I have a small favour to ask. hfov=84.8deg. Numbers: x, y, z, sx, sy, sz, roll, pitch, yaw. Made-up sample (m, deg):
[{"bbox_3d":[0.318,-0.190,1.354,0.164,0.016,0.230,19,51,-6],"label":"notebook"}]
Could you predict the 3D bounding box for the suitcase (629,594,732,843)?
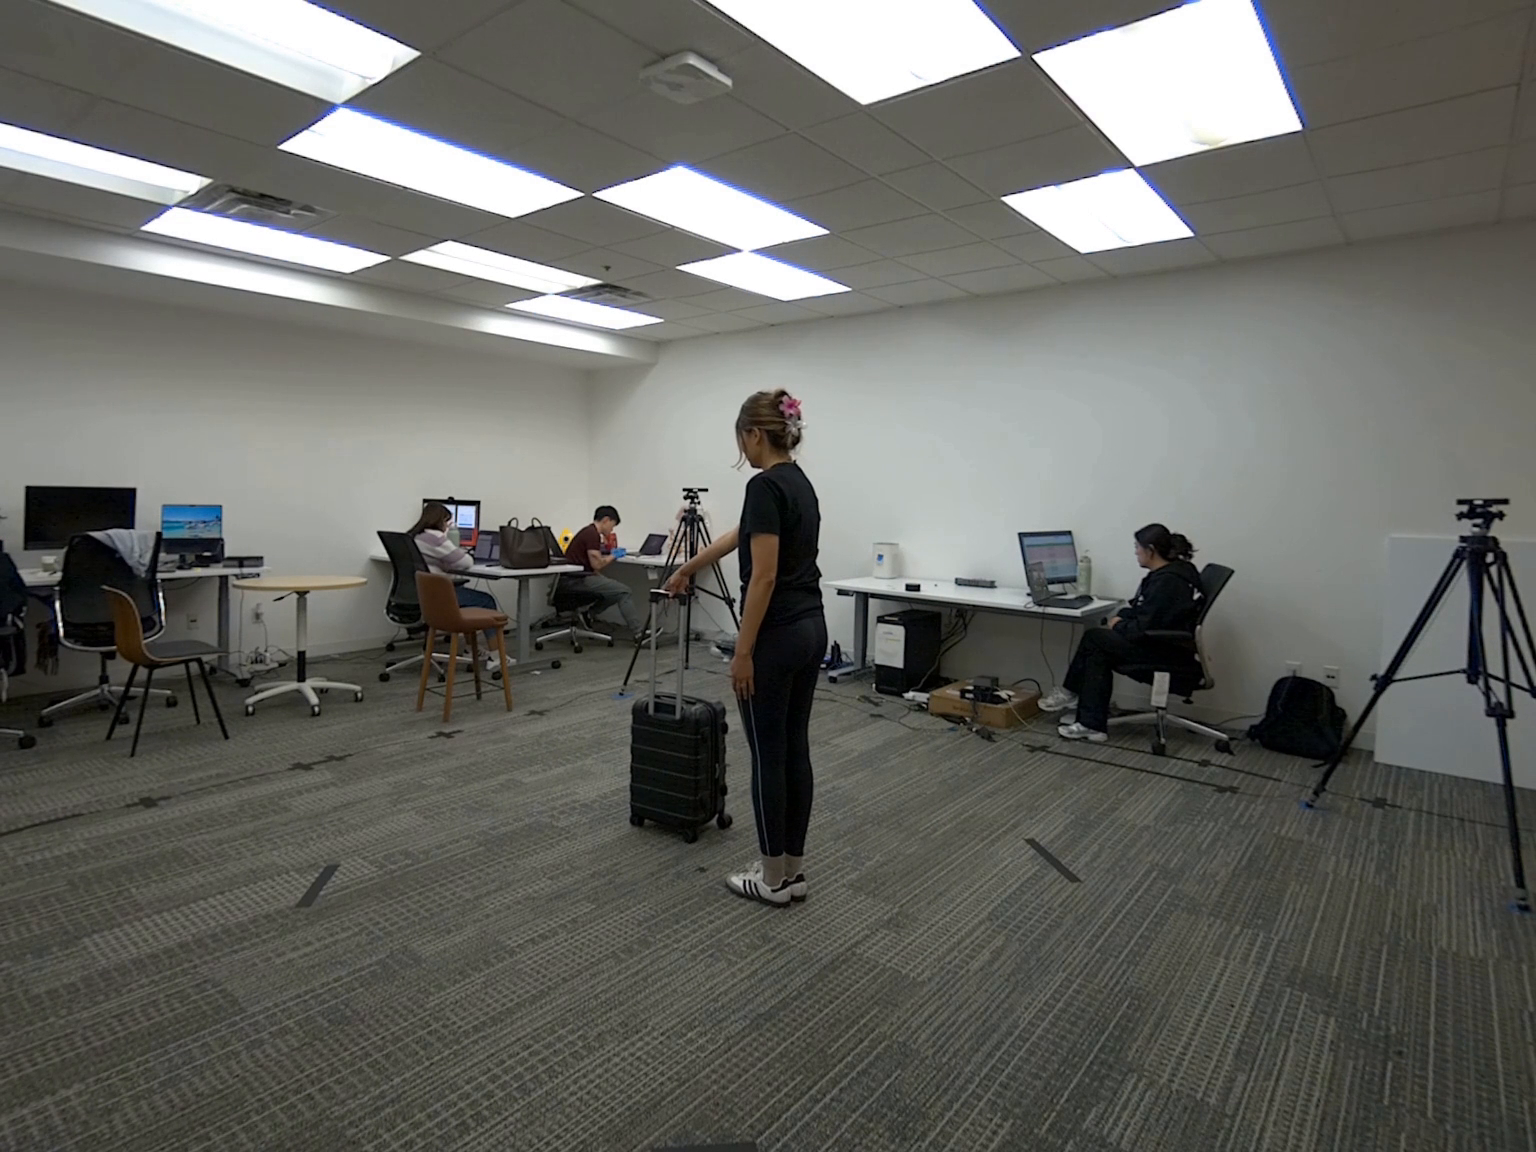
[{"bbox_3d":[-0.376,0.555,3.488,0.395,0.976,0.250,3,3,29],"label":"suitcase"}]
